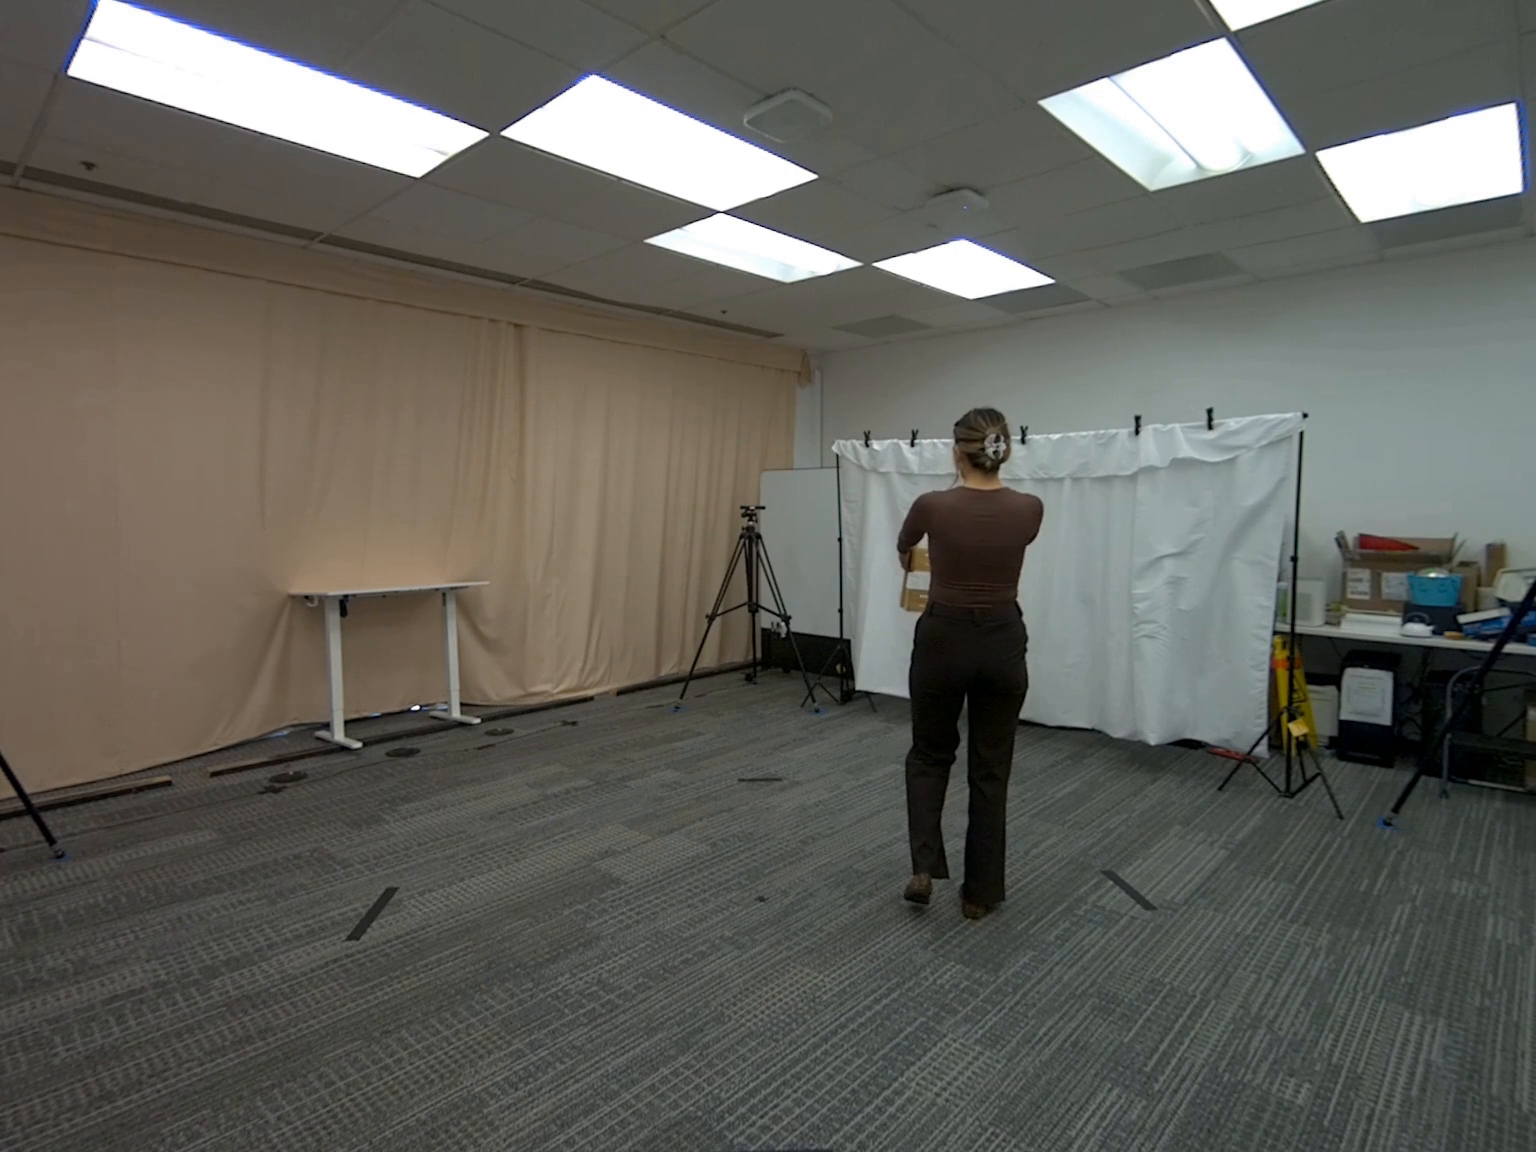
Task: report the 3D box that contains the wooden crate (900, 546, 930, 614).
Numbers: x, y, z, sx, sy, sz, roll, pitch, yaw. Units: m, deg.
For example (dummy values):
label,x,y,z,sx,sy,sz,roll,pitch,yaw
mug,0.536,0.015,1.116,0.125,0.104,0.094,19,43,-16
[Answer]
label,x,y,z,sx,sy,sz,roll,pitch,yaw
wooden crate,0.731,0.020,3.469,0.326,0.273,0.301,4,2,3
